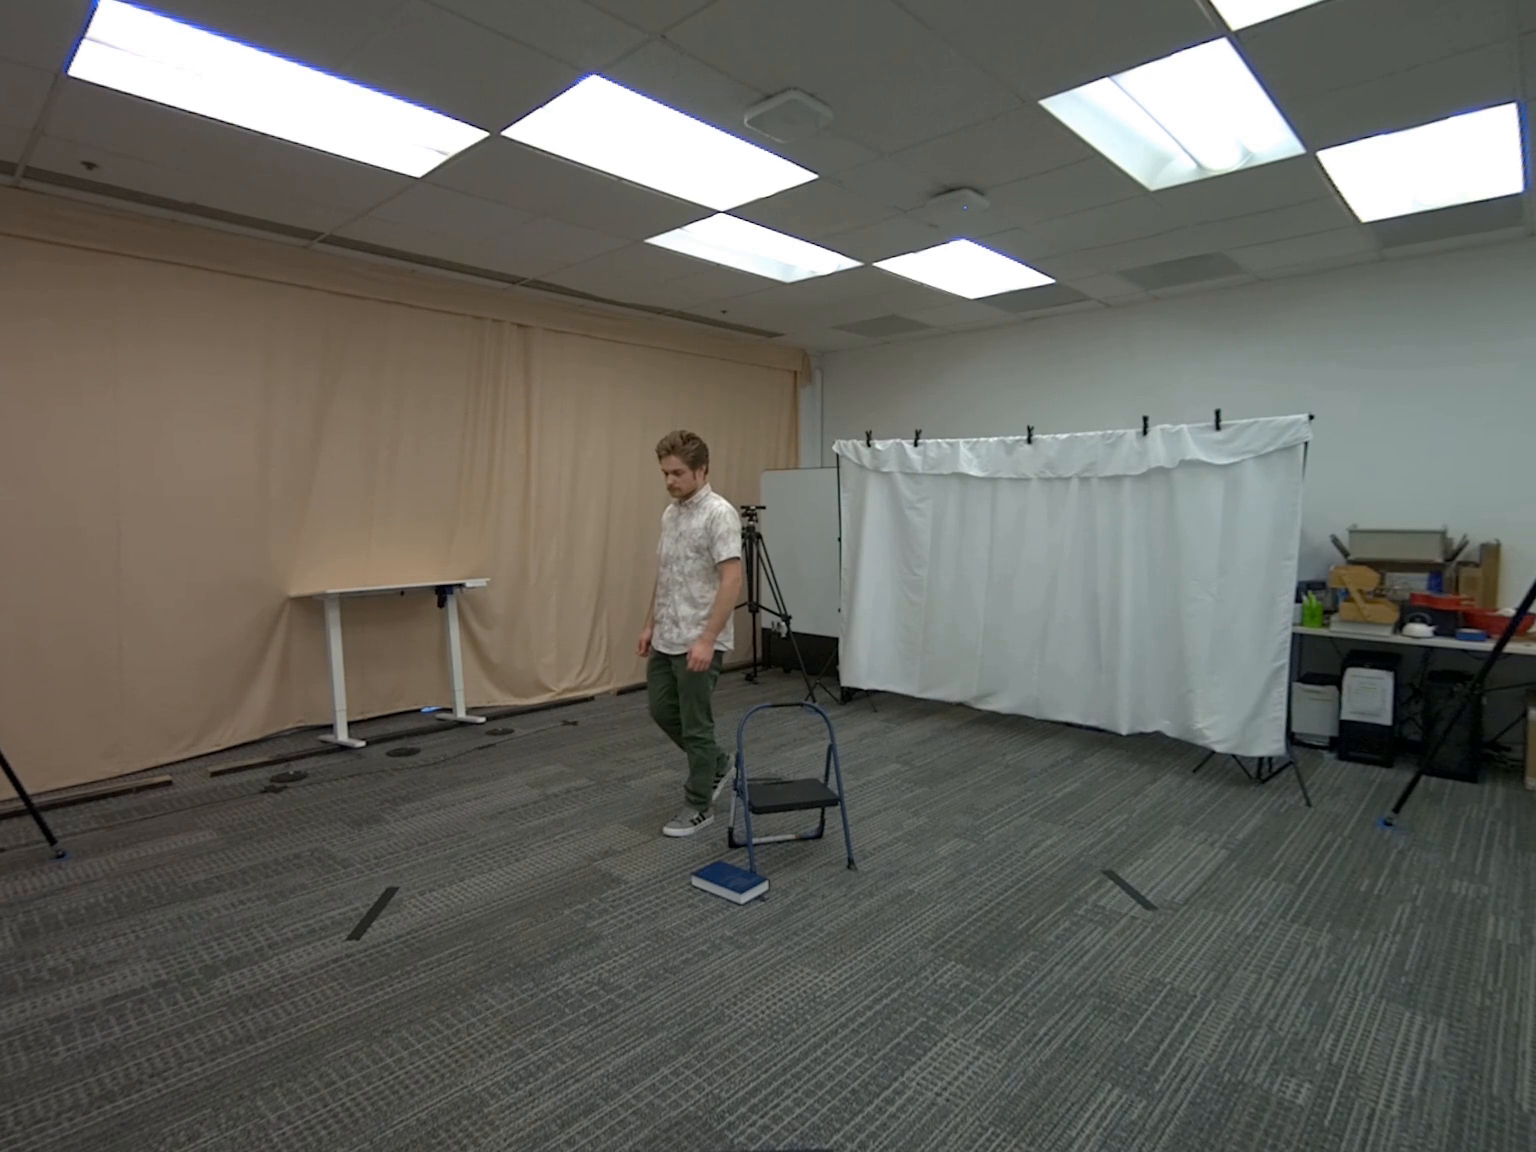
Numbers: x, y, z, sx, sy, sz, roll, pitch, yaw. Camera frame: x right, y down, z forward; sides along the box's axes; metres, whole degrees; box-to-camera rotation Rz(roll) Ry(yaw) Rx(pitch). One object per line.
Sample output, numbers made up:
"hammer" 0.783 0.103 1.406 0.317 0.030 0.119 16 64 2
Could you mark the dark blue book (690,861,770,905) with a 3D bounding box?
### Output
"dark blue book" -0.137 1.113 3.067 0.253 0.045 0.158 4 7 40
